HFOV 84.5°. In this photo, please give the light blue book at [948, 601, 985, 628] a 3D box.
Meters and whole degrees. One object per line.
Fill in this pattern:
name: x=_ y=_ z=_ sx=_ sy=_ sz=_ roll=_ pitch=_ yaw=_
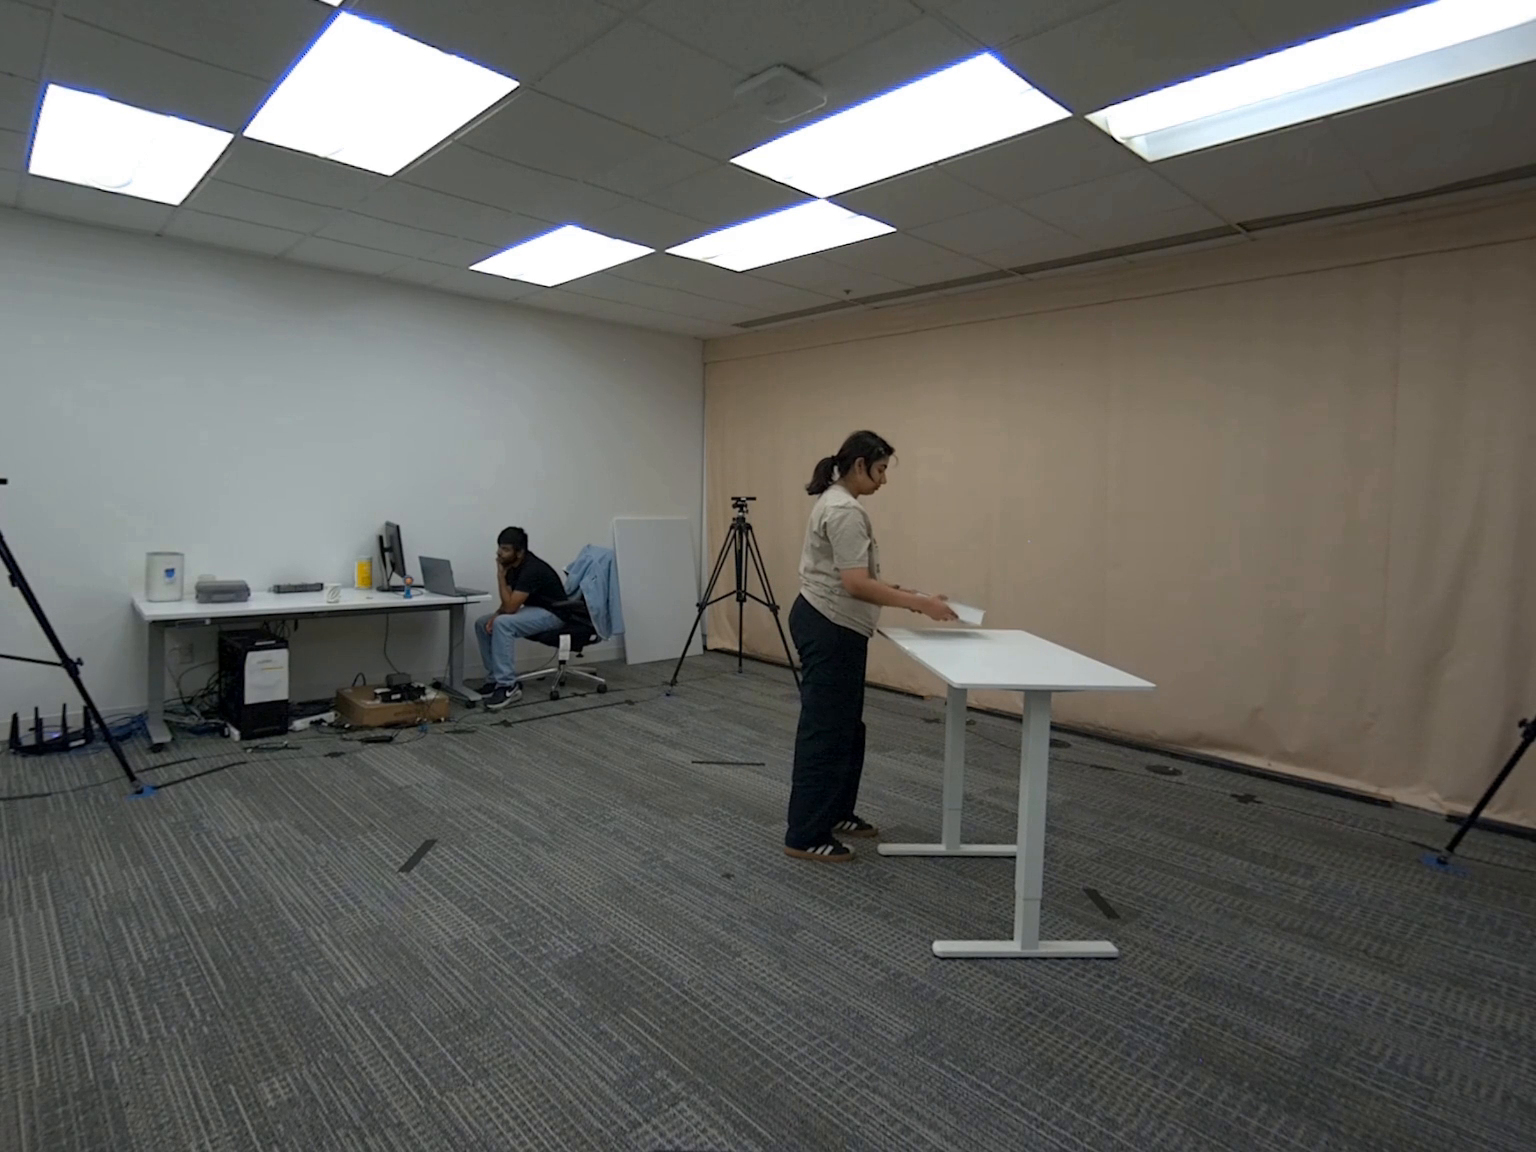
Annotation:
light blue book: x=0.720 y=0.135 z=3.308 sx=0.192 sy=0.059 sz=0.259 roll=14 pitch=-3 yaw=3
